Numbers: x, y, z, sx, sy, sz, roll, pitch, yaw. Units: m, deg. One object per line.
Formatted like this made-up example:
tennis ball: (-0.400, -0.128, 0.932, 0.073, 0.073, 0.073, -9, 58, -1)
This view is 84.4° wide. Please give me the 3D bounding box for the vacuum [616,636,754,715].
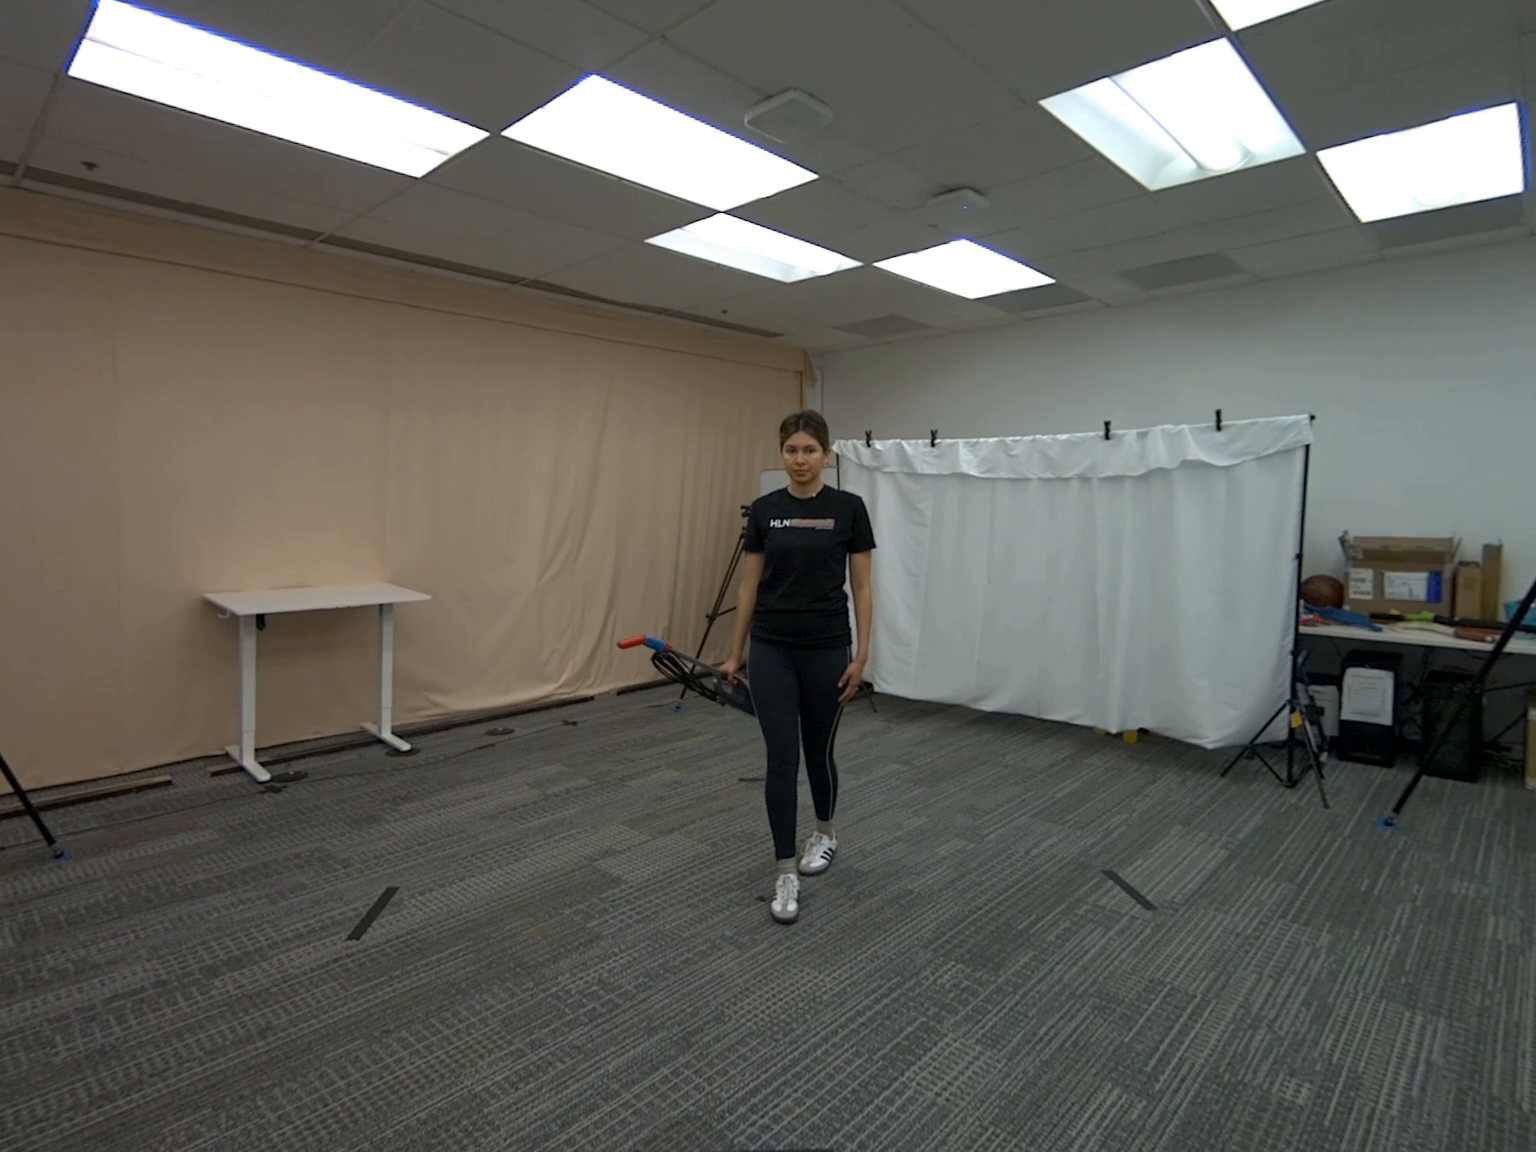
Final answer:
vacuum: (-0.218, 0.387, 3.051, 0.261, 0.144, 1.011, 9, -15, 36)
